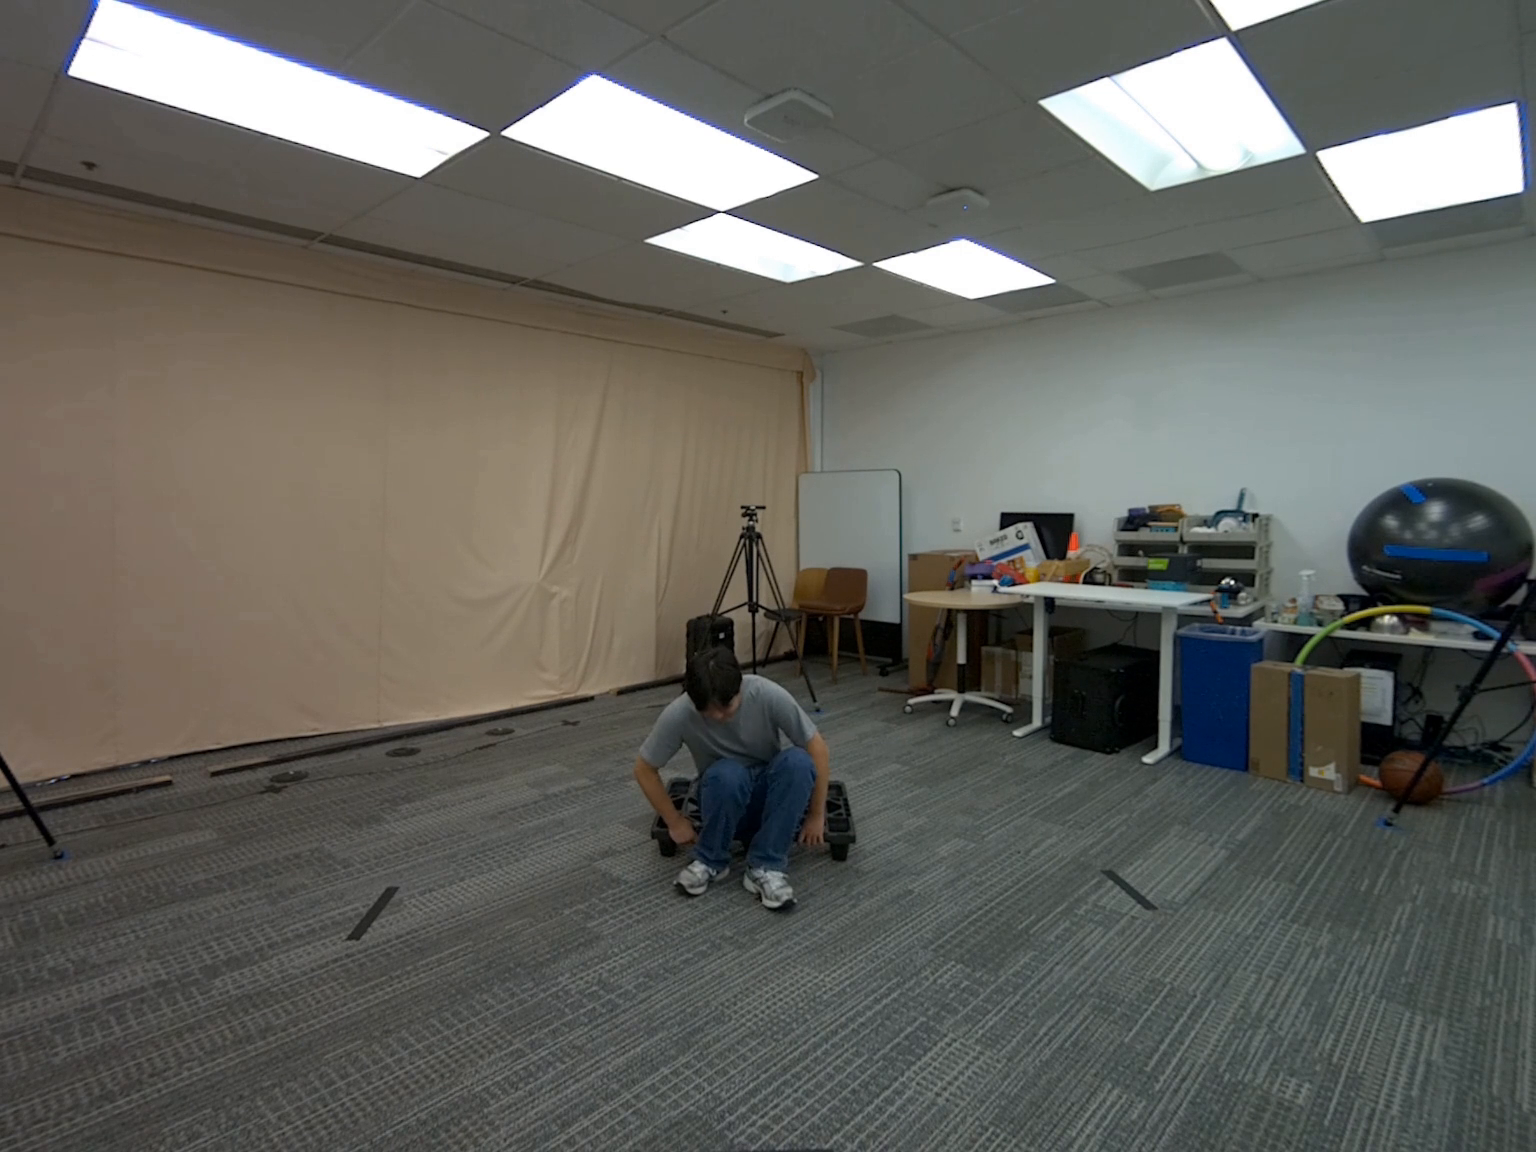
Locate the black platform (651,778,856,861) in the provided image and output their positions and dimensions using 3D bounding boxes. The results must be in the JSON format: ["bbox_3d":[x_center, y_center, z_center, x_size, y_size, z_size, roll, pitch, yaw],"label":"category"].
[{"bbox_3d":[-0.051,1.024,3.545,0.809,0.143,0.605,0,6,3],"label":"black platform"}]
